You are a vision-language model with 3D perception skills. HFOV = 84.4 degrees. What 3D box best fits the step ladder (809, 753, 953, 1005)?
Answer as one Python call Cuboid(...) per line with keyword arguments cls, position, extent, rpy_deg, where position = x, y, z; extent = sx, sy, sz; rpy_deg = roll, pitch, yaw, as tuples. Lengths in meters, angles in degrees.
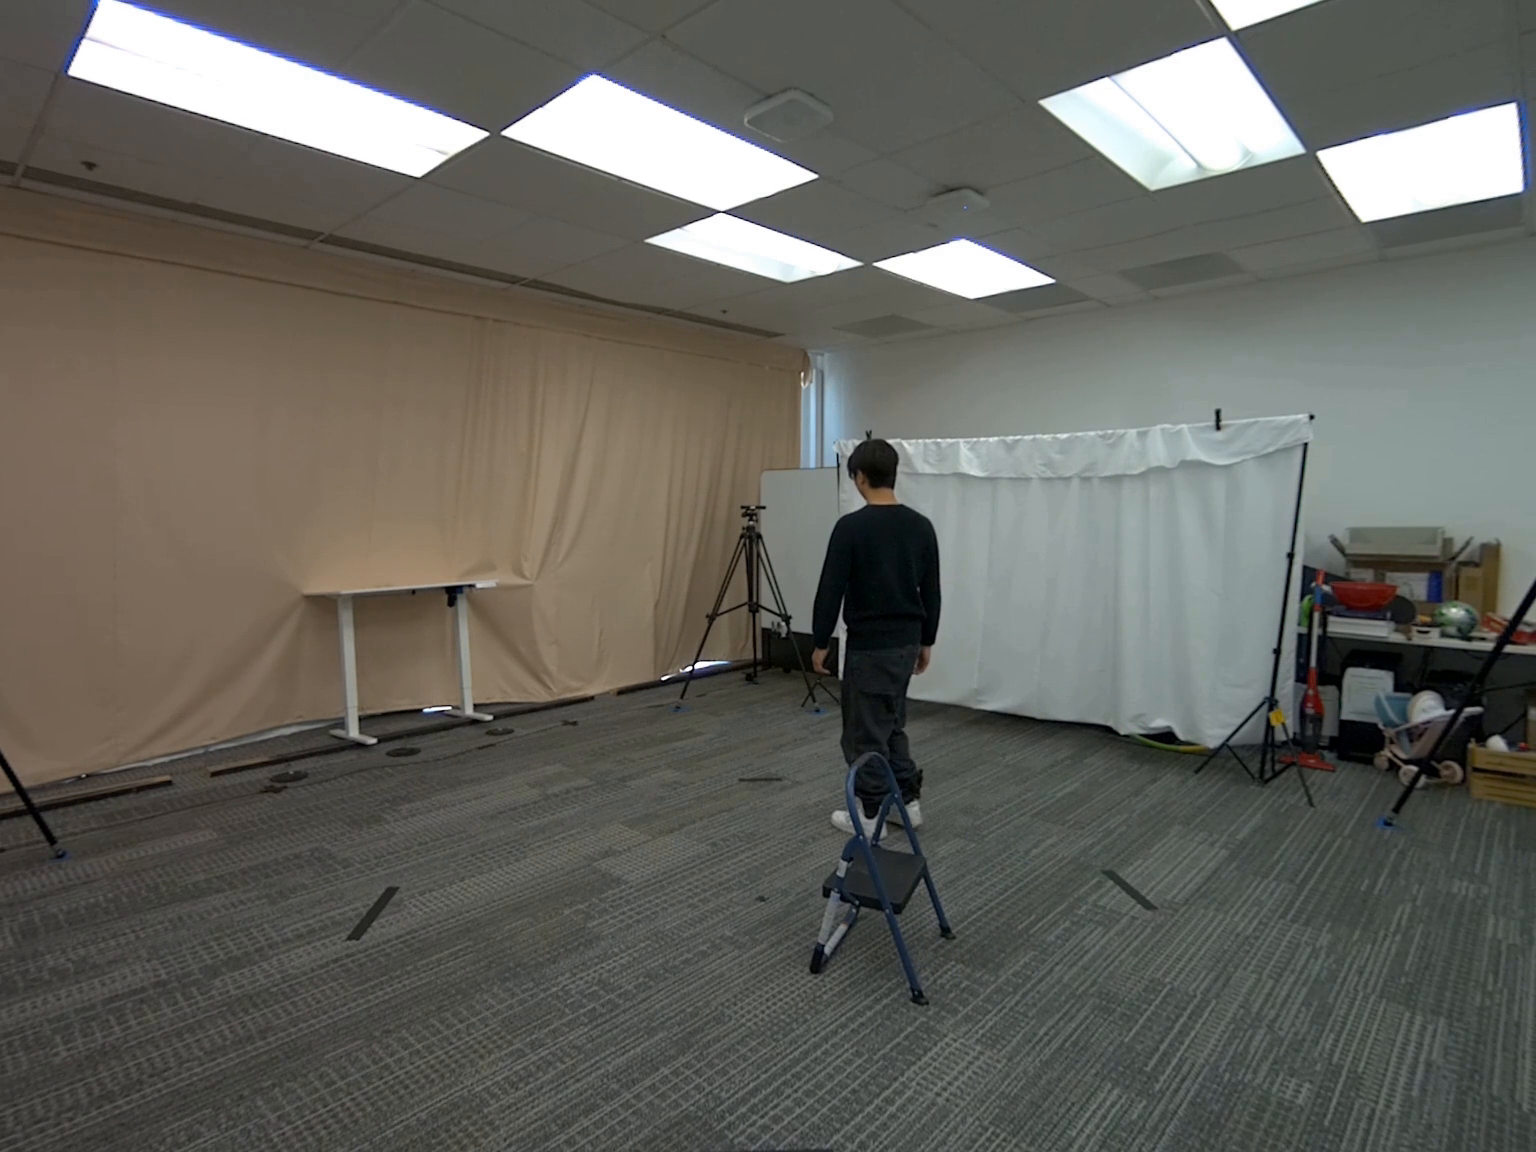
Cuboid(cls="step ladder", position=(0.366, 0.872, 2.596), extent=(0.358, 0.605, 0.421), rpy_deg=(2, 3, 24))
